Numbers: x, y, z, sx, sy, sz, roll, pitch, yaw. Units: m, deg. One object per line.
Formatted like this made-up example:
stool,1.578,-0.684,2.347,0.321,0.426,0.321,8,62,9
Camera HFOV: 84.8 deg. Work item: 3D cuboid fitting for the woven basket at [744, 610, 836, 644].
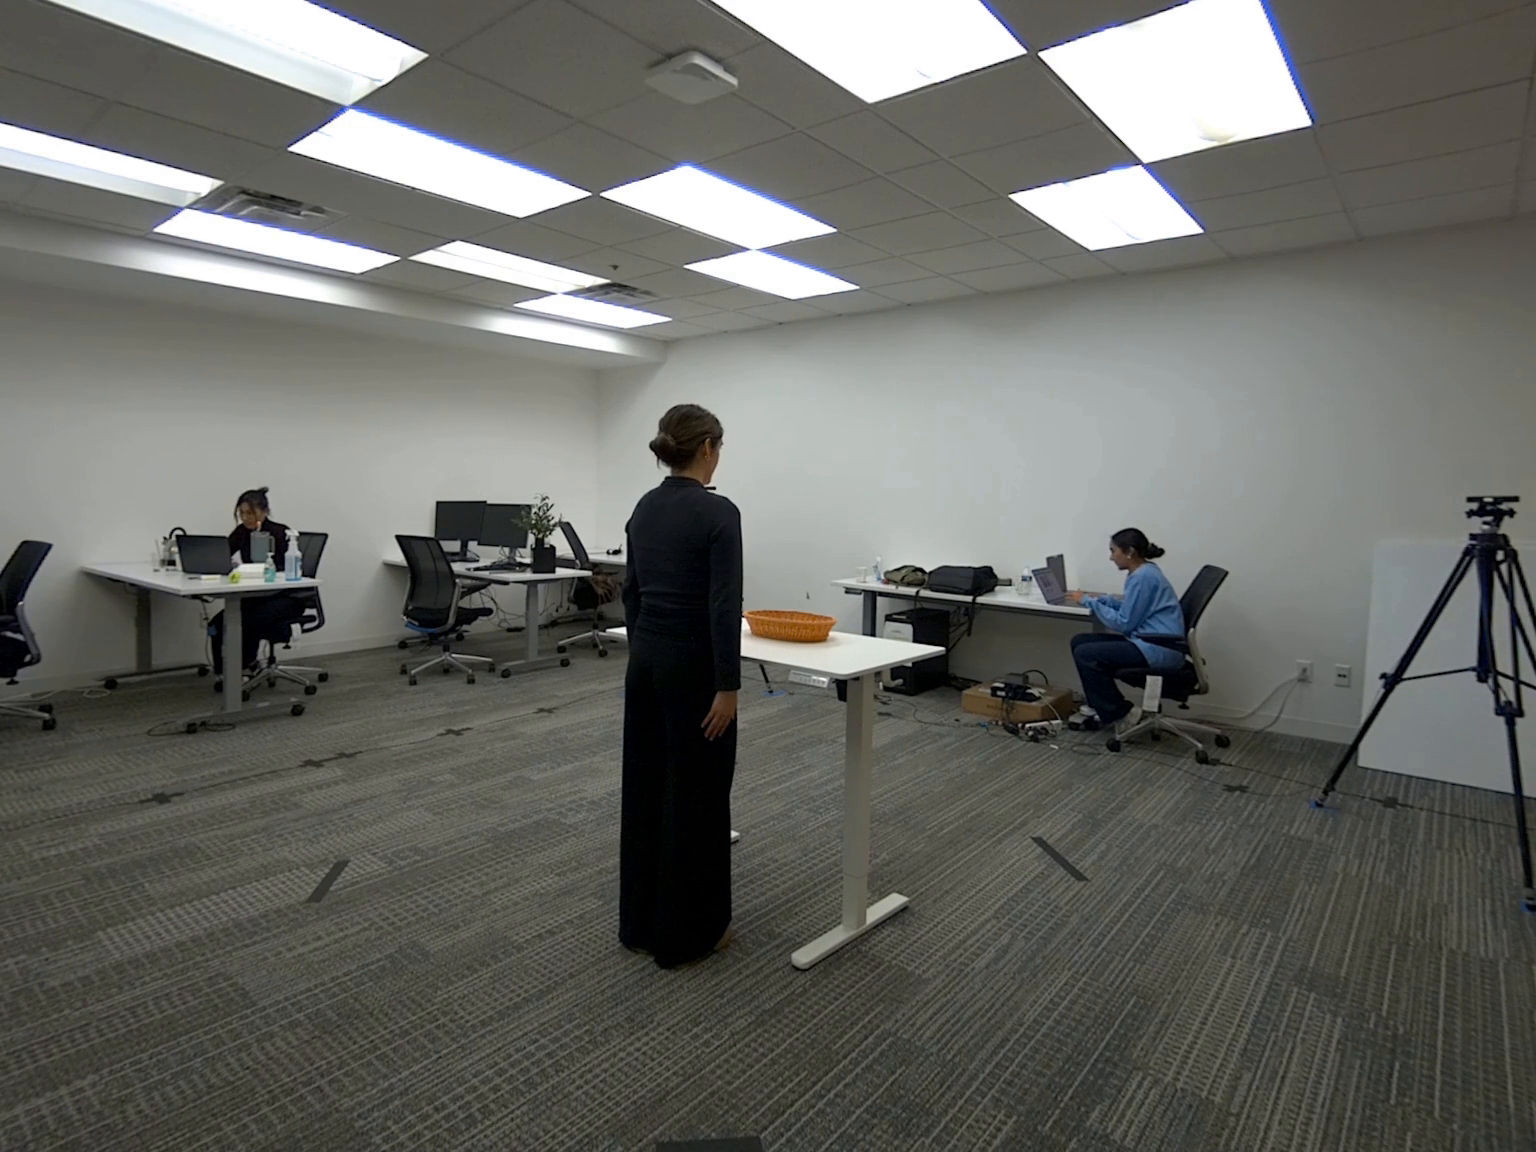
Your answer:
woven basket,0.072,0.176,2.937,0.362,0.073,0.244,6,6,42
